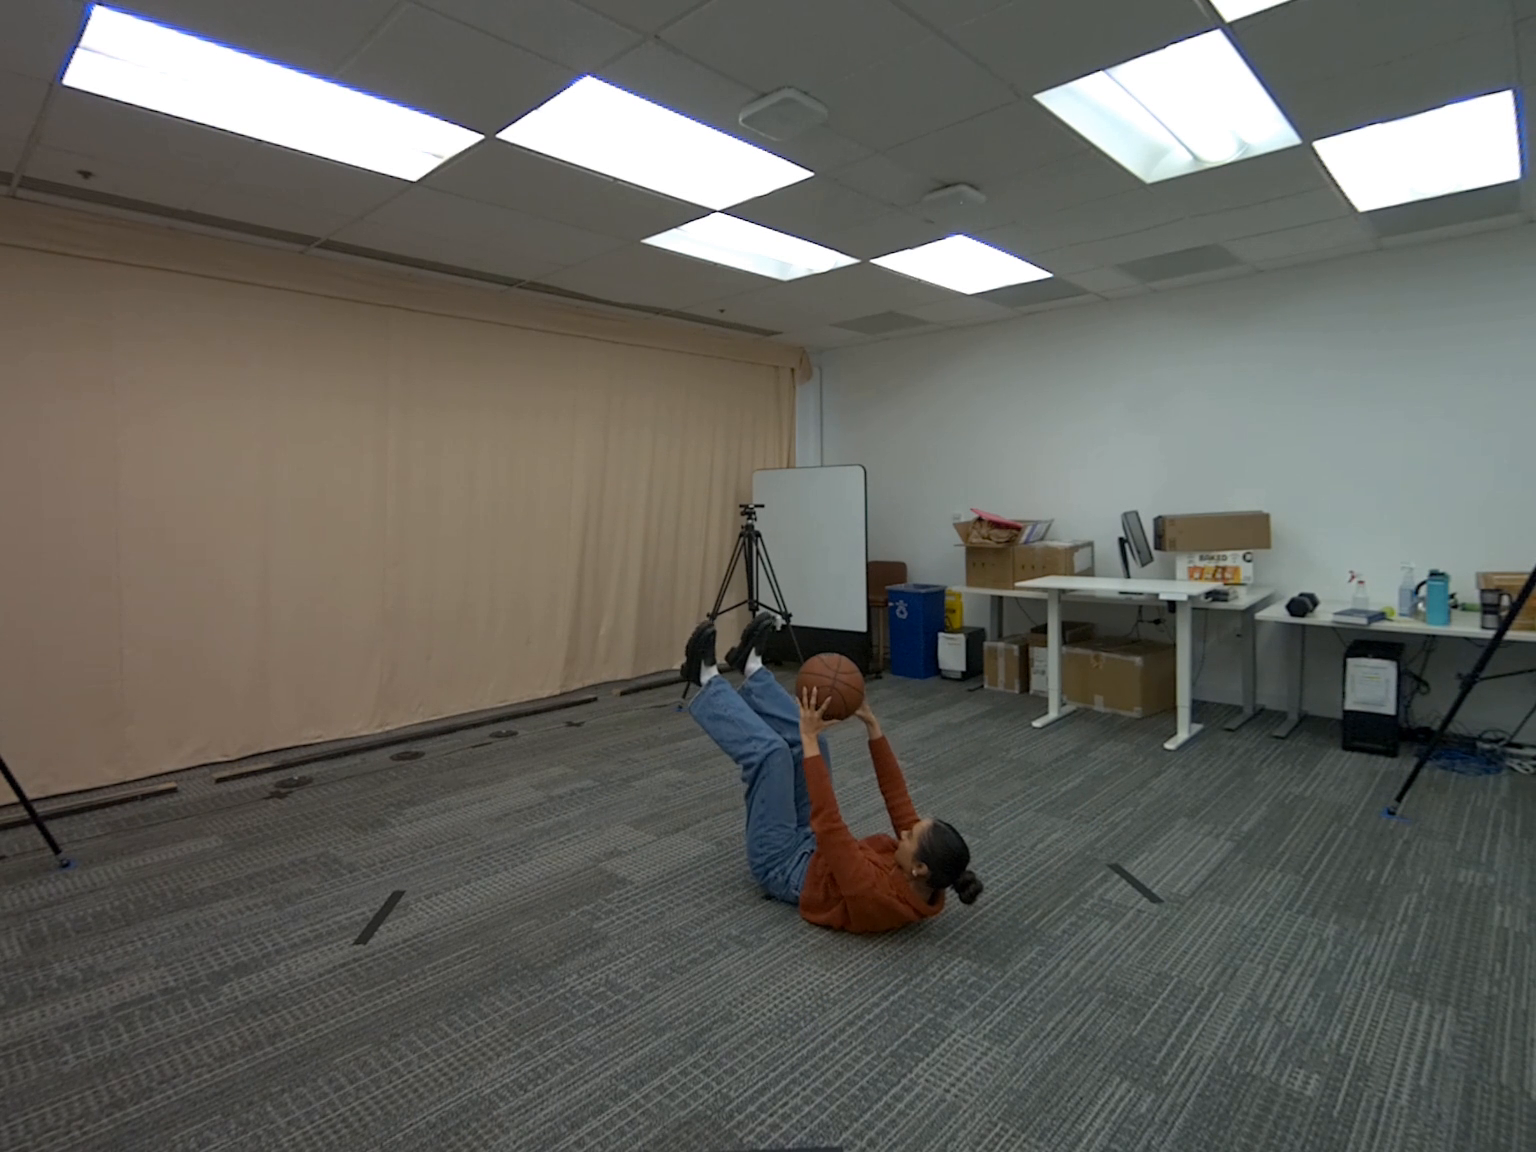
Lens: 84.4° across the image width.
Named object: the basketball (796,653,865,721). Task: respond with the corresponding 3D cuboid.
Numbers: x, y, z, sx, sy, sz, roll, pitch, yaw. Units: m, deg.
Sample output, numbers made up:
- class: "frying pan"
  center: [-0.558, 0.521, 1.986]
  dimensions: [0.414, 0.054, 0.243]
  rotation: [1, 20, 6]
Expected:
- class: "basketball"
  center: [0.219, 0.378, 2.888]
  dimensions: [0.235, 0.235, 0.237]
  rotation: [2, 5, -2]
